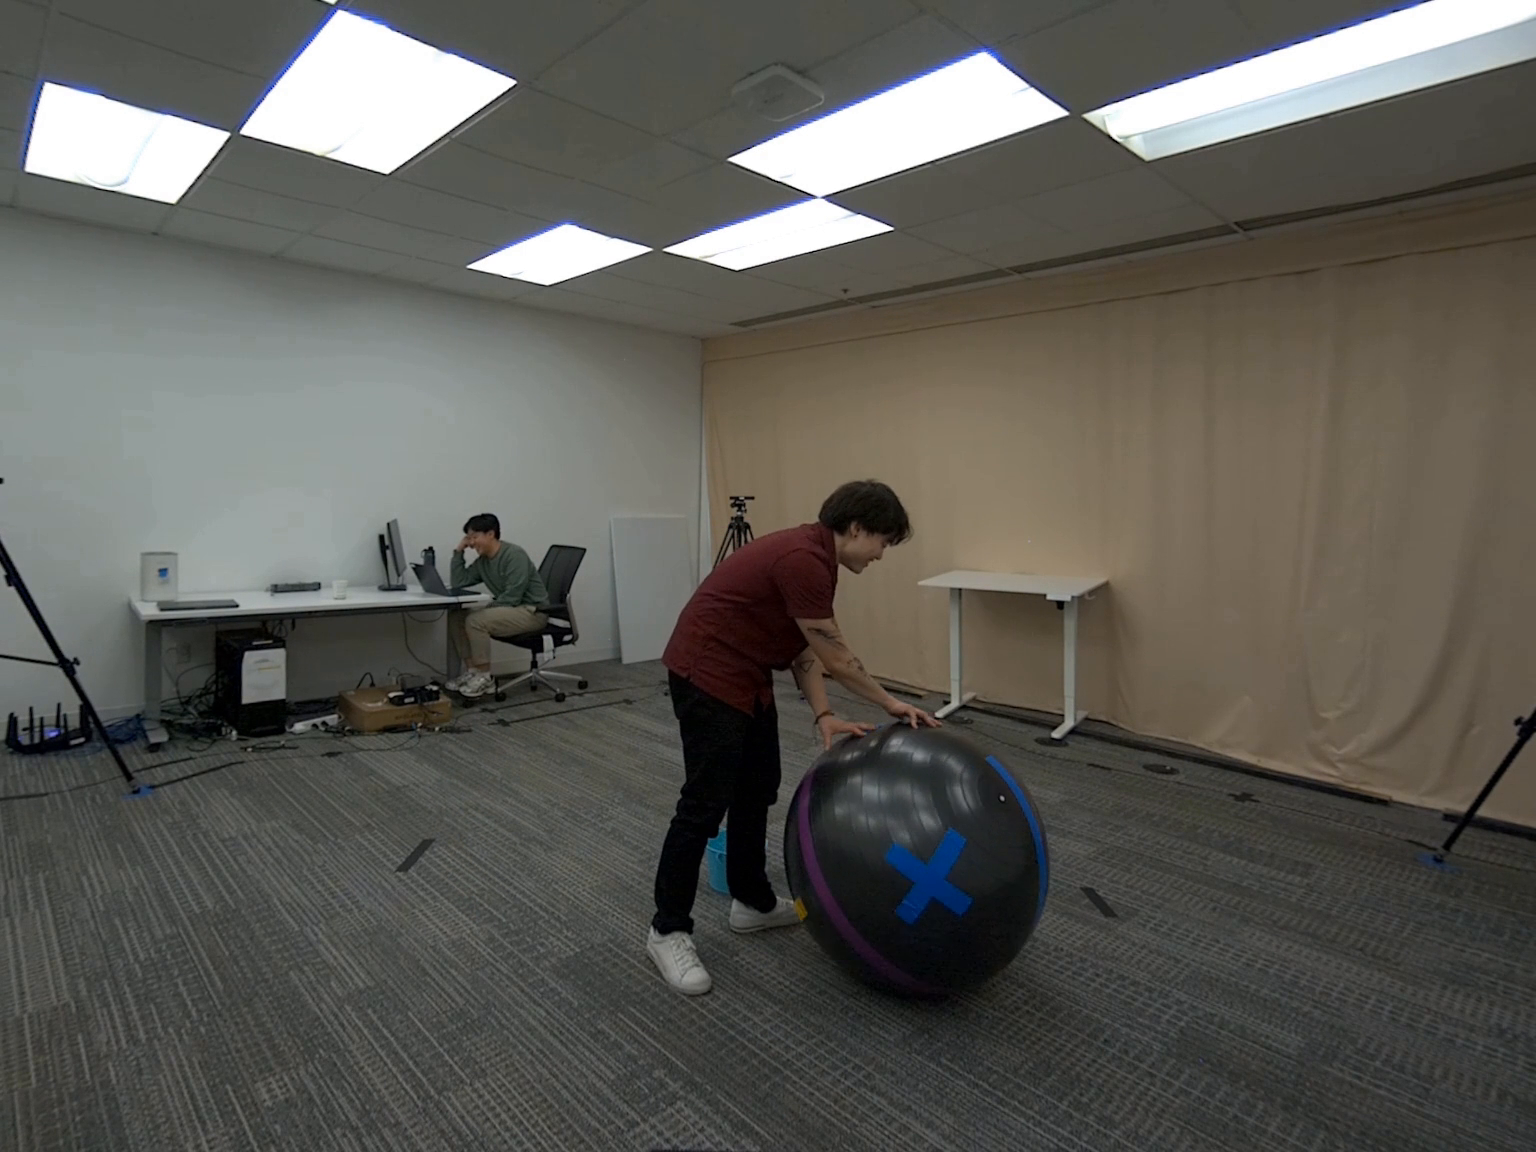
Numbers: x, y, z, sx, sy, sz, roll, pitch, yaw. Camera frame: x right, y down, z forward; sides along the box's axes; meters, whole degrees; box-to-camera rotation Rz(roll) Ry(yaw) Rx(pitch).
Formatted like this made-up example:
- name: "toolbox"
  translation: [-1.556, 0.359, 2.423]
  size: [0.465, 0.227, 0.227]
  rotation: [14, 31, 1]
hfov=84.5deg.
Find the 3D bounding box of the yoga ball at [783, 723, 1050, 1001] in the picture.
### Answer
- name: "yoga ball"
  translation: [0.430, 0.816, 2.475]
  size: [0.757, 0.756, 0.761]
  rotation: [1, 4, -1]
